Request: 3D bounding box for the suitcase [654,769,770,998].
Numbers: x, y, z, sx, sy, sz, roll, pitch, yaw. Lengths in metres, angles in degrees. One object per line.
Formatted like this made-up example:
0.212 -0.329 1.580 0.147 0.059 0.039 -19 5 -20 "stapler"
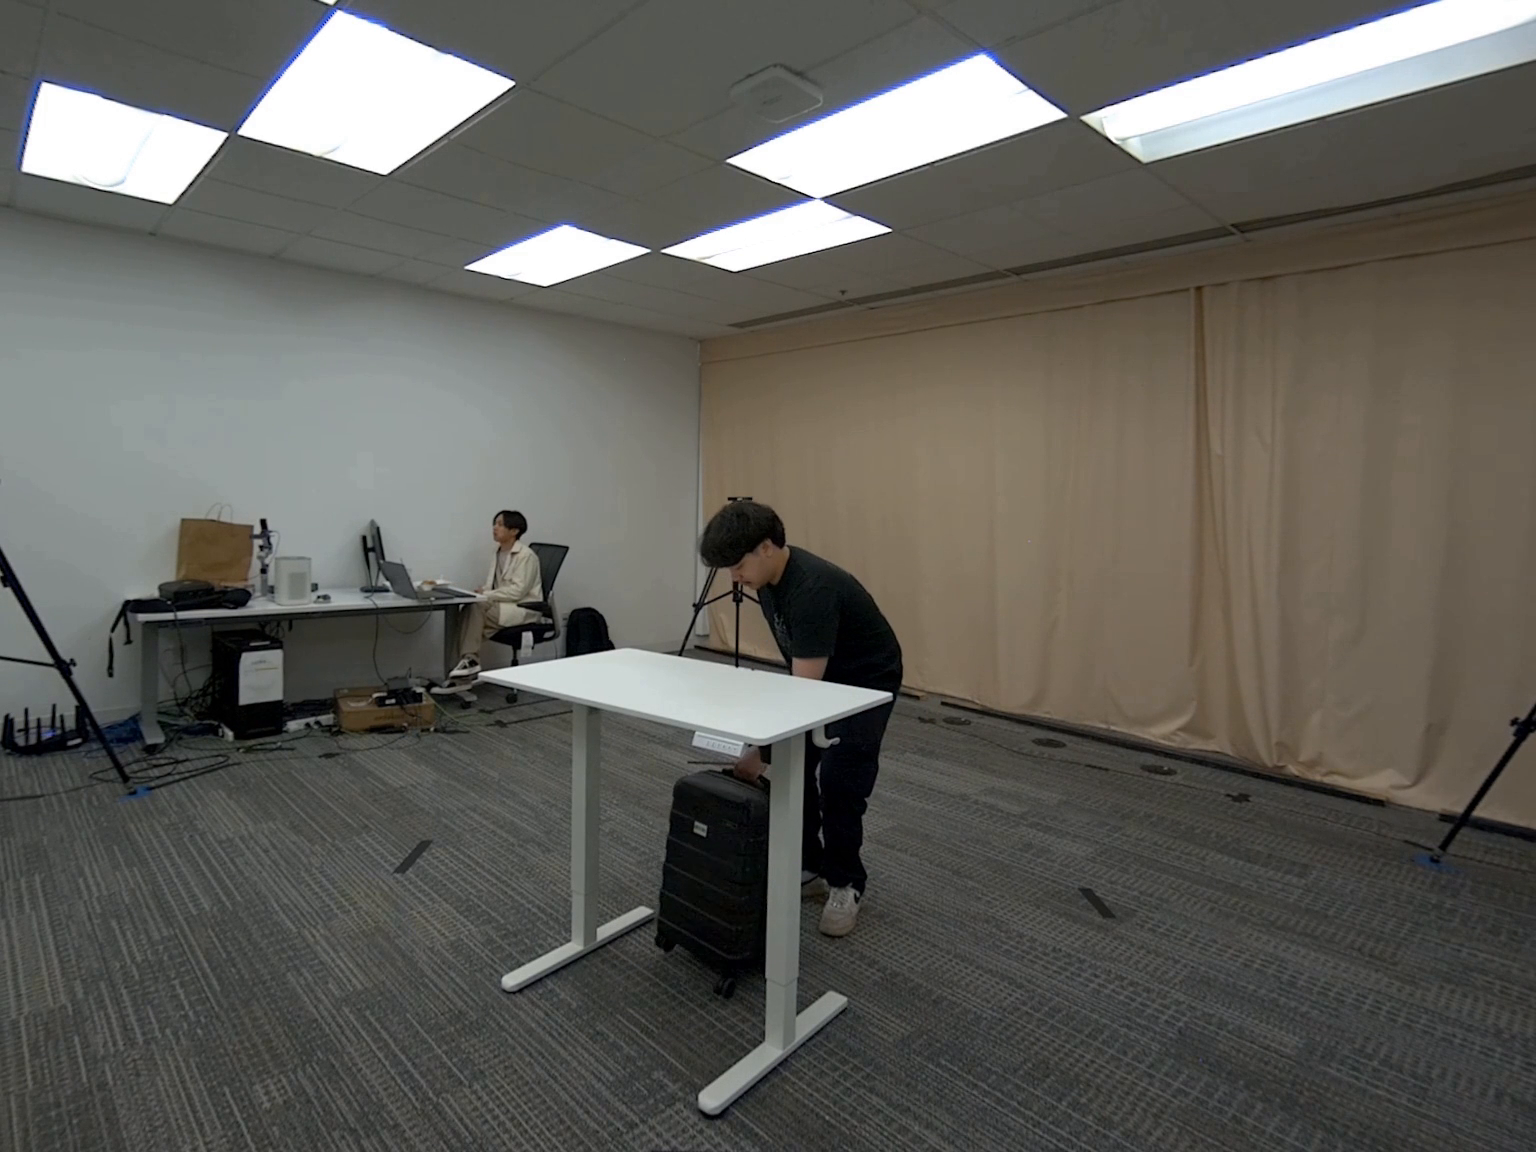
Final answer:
-0.128 0.877 2.510 0.385 0.550 0.242 6 -2 42 "suitcase"
